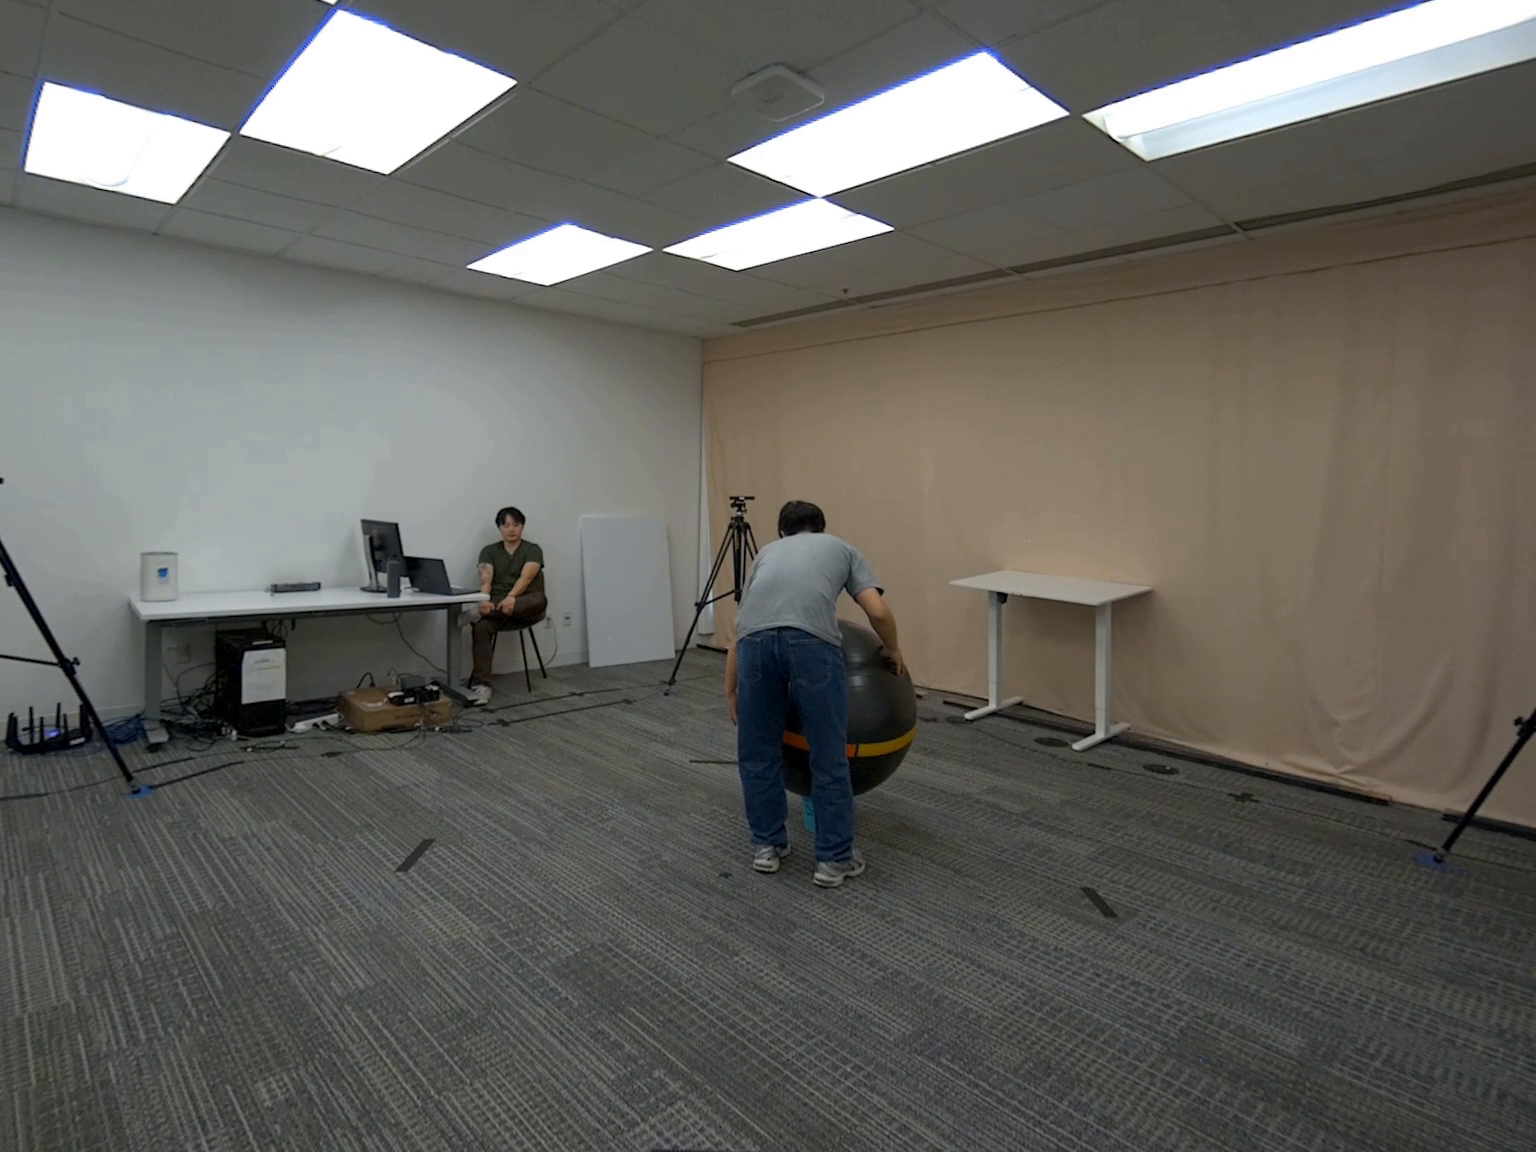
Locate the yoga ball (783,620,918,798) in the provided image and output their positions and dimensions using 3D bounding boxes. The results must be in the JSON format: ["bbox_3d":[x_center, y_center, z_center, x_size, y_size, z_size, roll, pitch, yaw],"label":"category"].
[{"bbox_3d":[0.248,0.566,3.583,0.757,0.756,0.761,1,4,-1],"label":"yoga ball"}]
